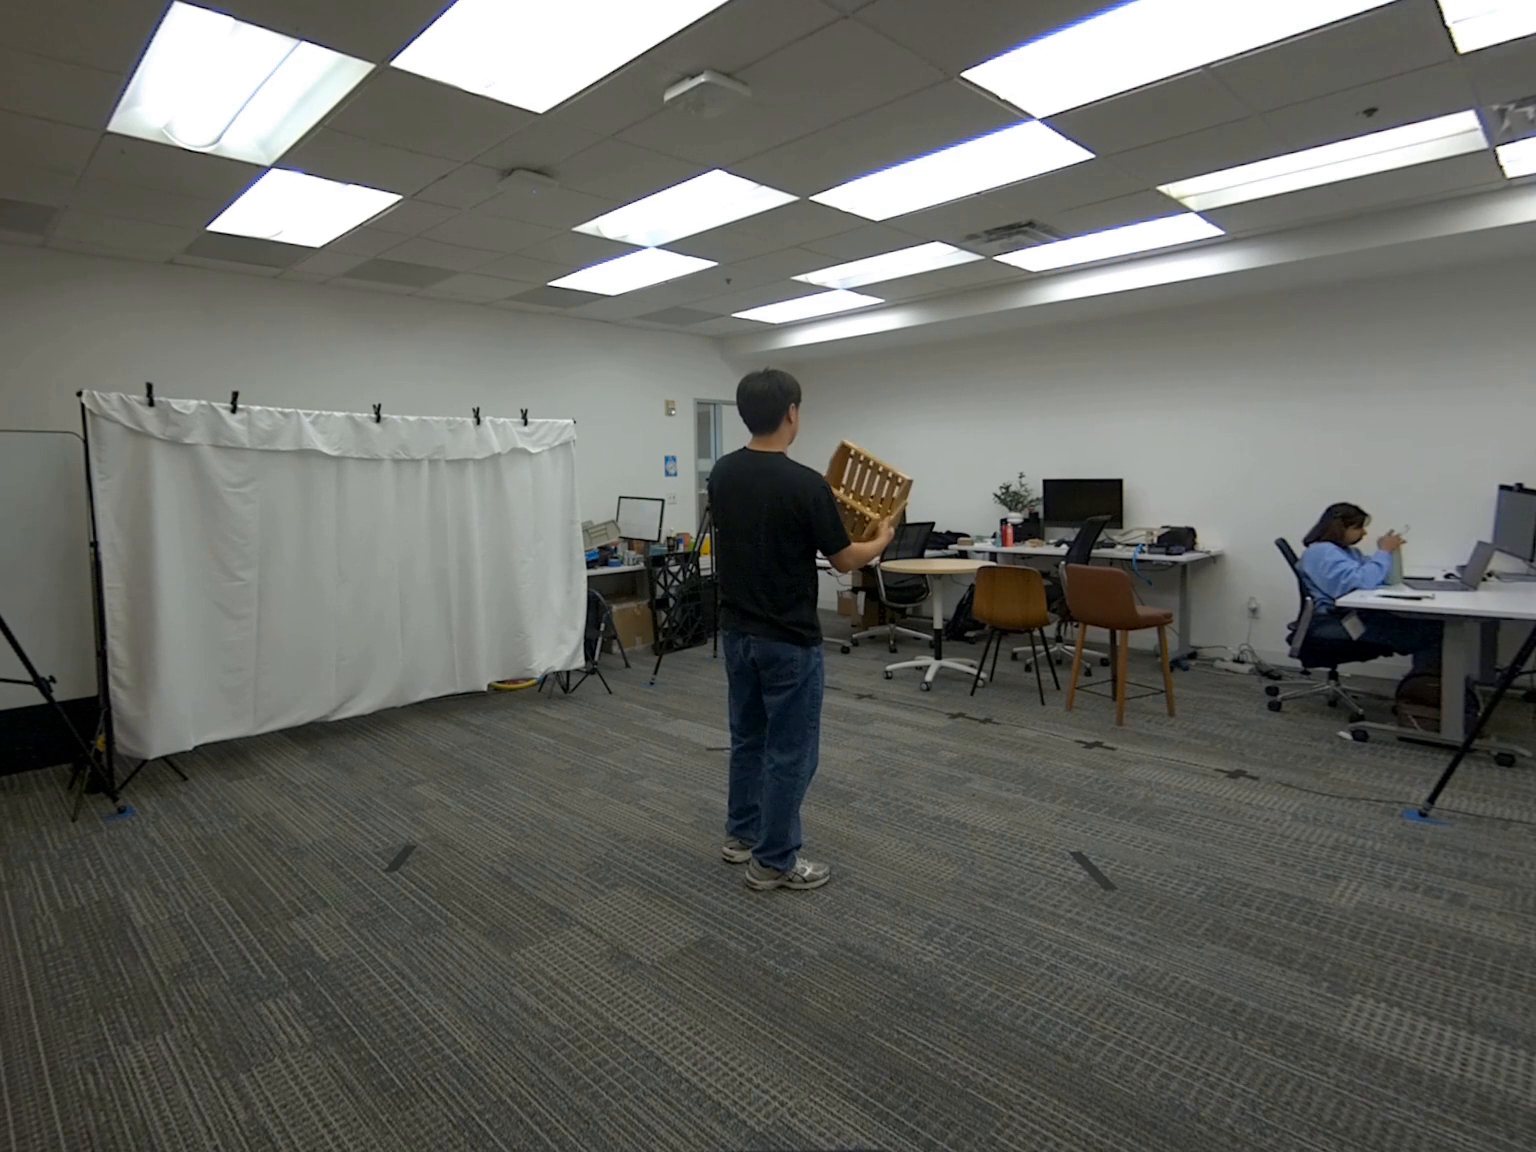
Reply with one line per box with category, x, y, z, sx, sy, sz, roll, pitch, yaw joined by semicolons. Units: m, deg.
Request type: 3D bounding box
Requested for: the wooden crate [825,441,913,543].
wooden crate;0.304;-0.274;3.124;0.335;0.295;0.271;35;47;25
